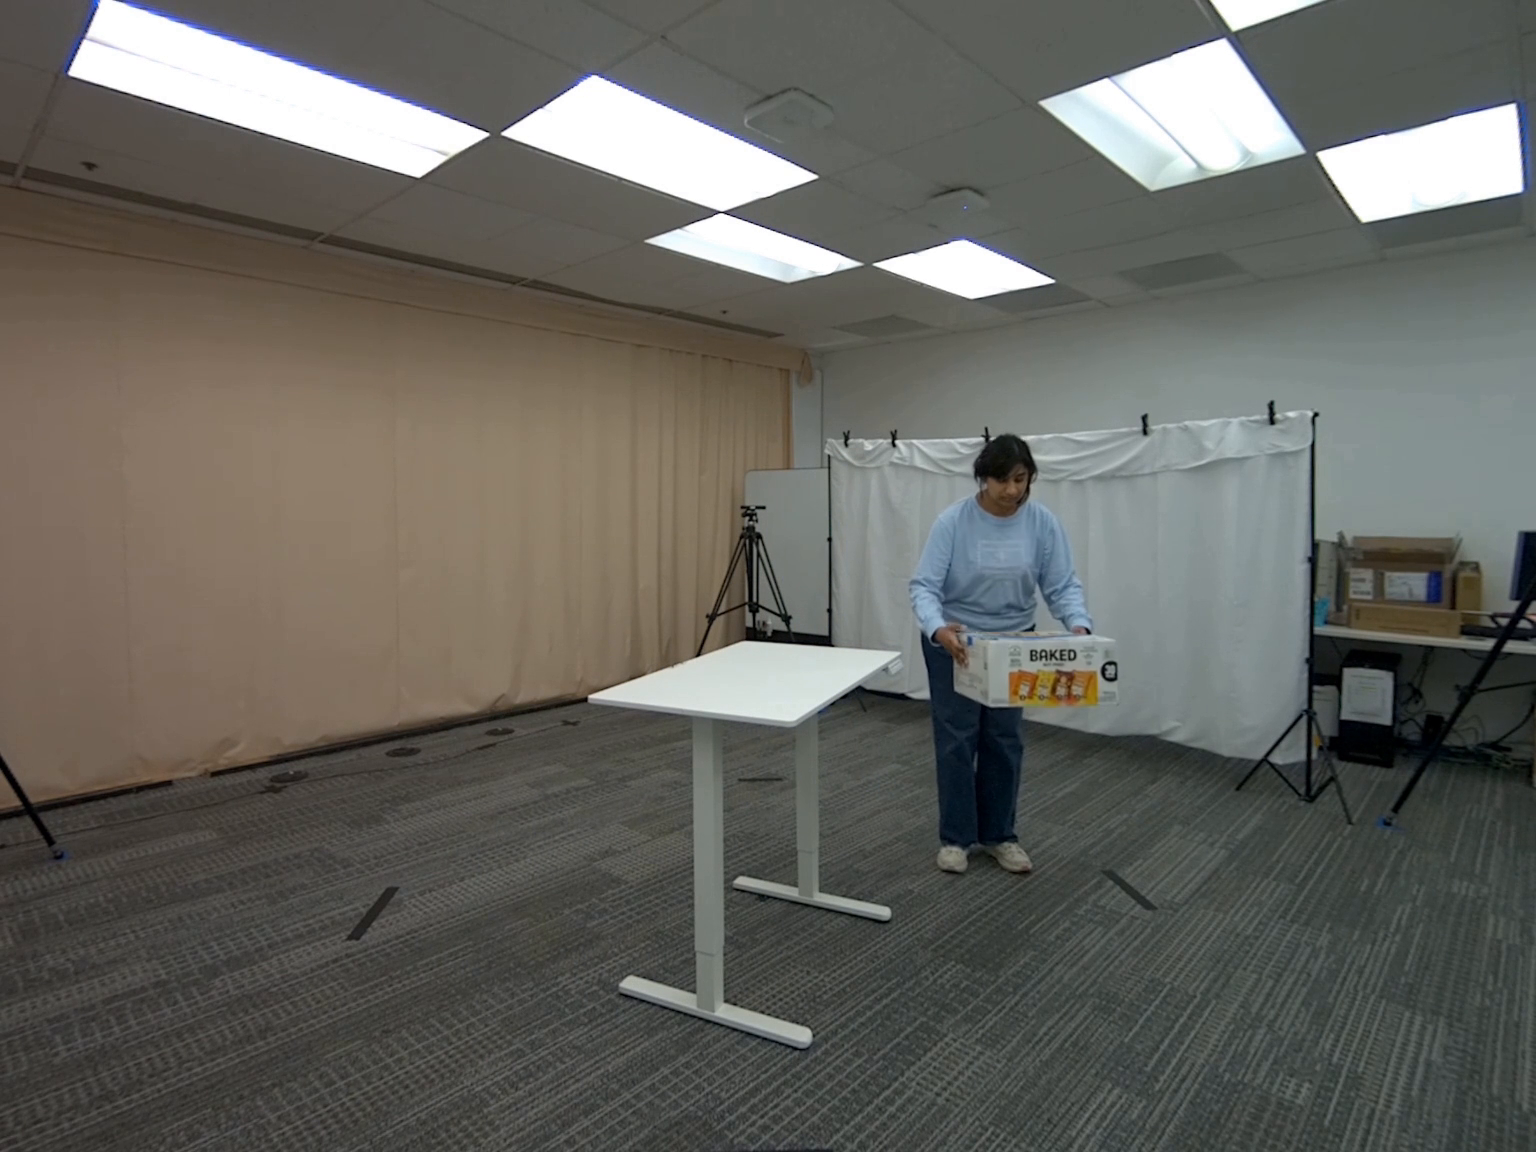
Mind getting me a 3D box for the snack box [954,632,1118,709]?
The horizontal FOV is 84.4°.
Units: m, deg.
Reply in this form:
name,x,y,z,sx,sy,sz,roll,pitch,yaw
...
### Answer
name,x,y,z,sx,sy,sz,roll,pitch,yaw
snack box,0.859,0.300,2.748,0.404,0.206,0.341,0,0,-4
